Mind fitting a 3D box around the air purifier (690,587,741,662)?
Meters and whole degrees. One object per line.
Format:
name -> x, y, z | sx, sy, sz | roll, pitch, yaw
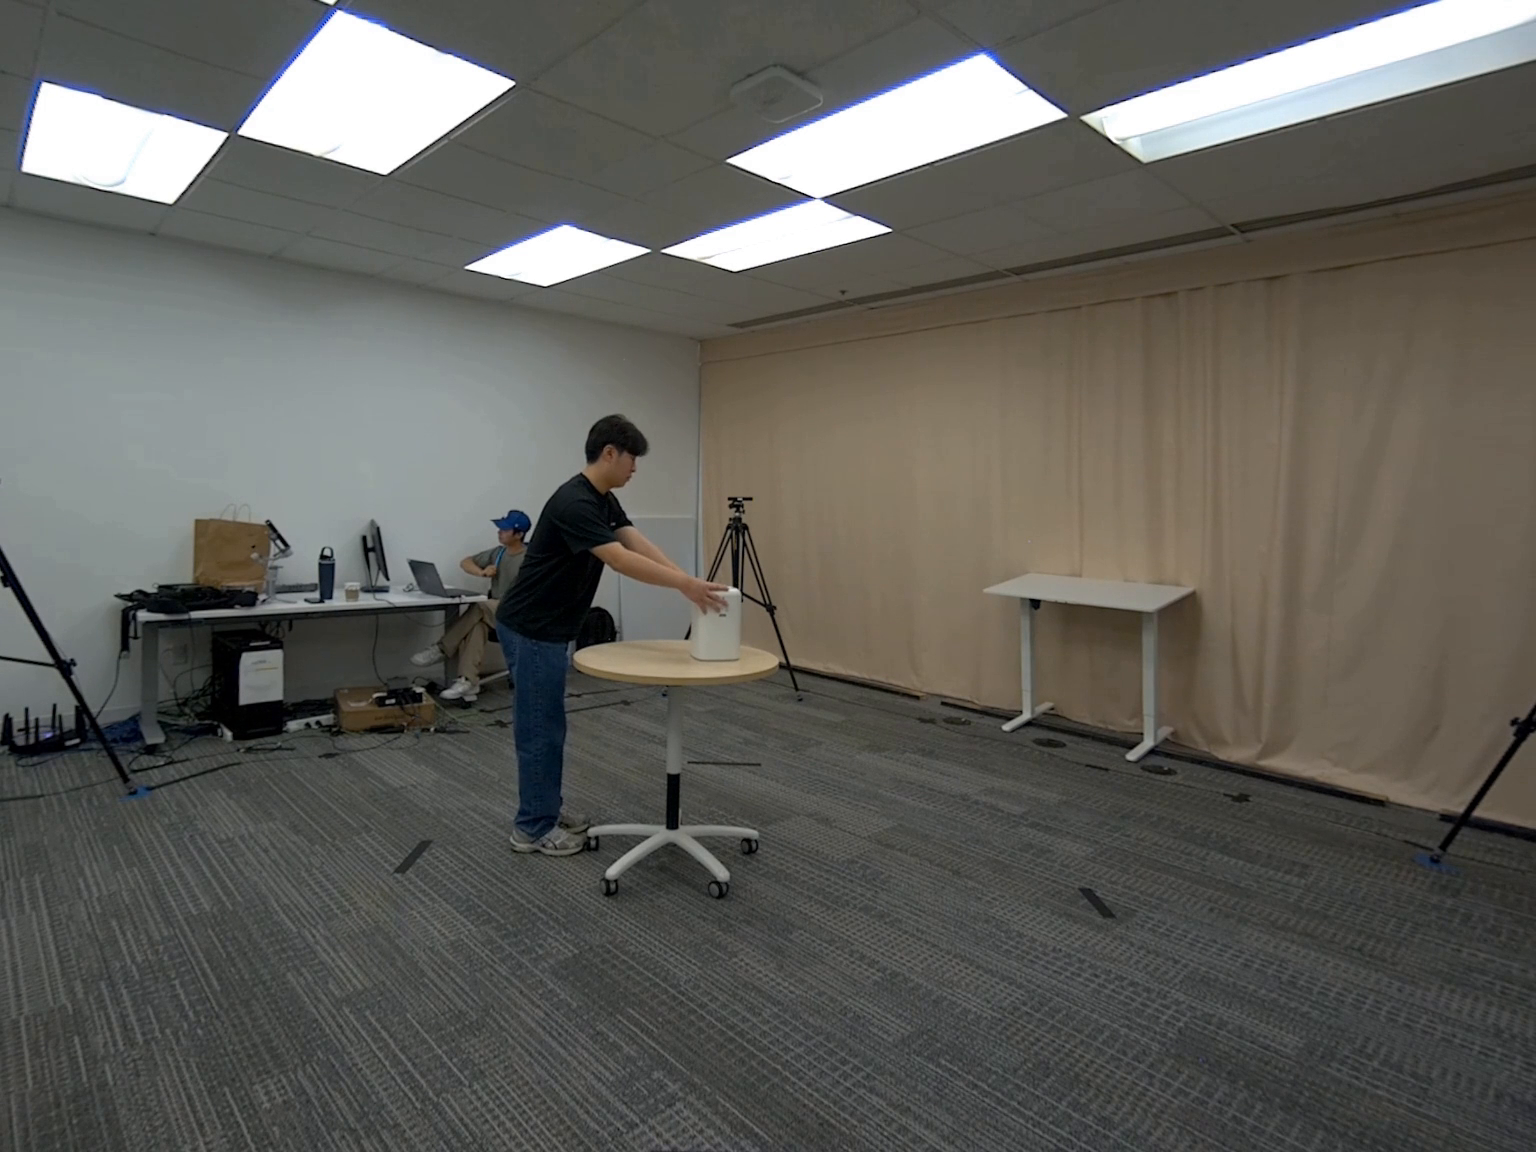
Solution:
air purifier -> -0.205, 0.174, 3.167 | 0.169, 0.265, 0.173 | 2, 3, -13
